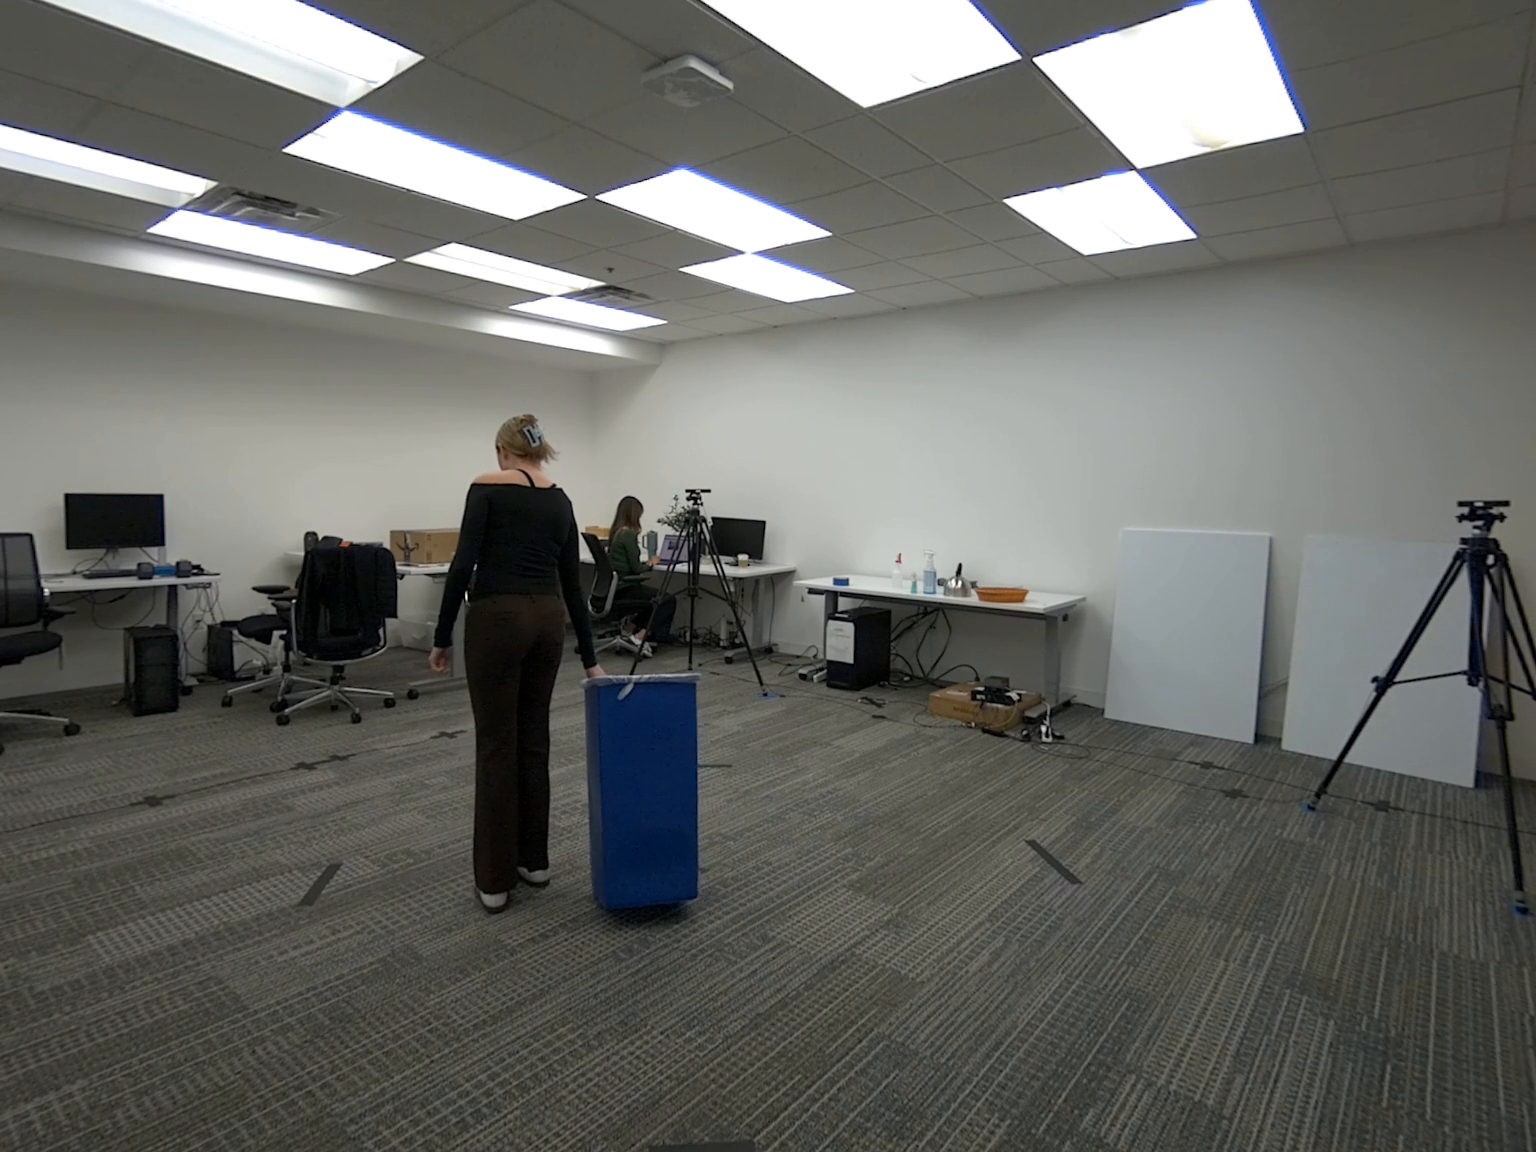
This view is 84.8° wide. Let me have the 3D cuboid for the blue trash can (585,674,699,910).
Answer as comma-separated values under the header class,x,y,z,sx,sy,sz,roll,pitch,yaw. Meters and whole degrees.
class,x,y,z,sx,sy,sz,roll,pitch,yaw
blue trash can,-0.450,0.708,2.907,0.371,0.722,0.377,1,-11,-18
